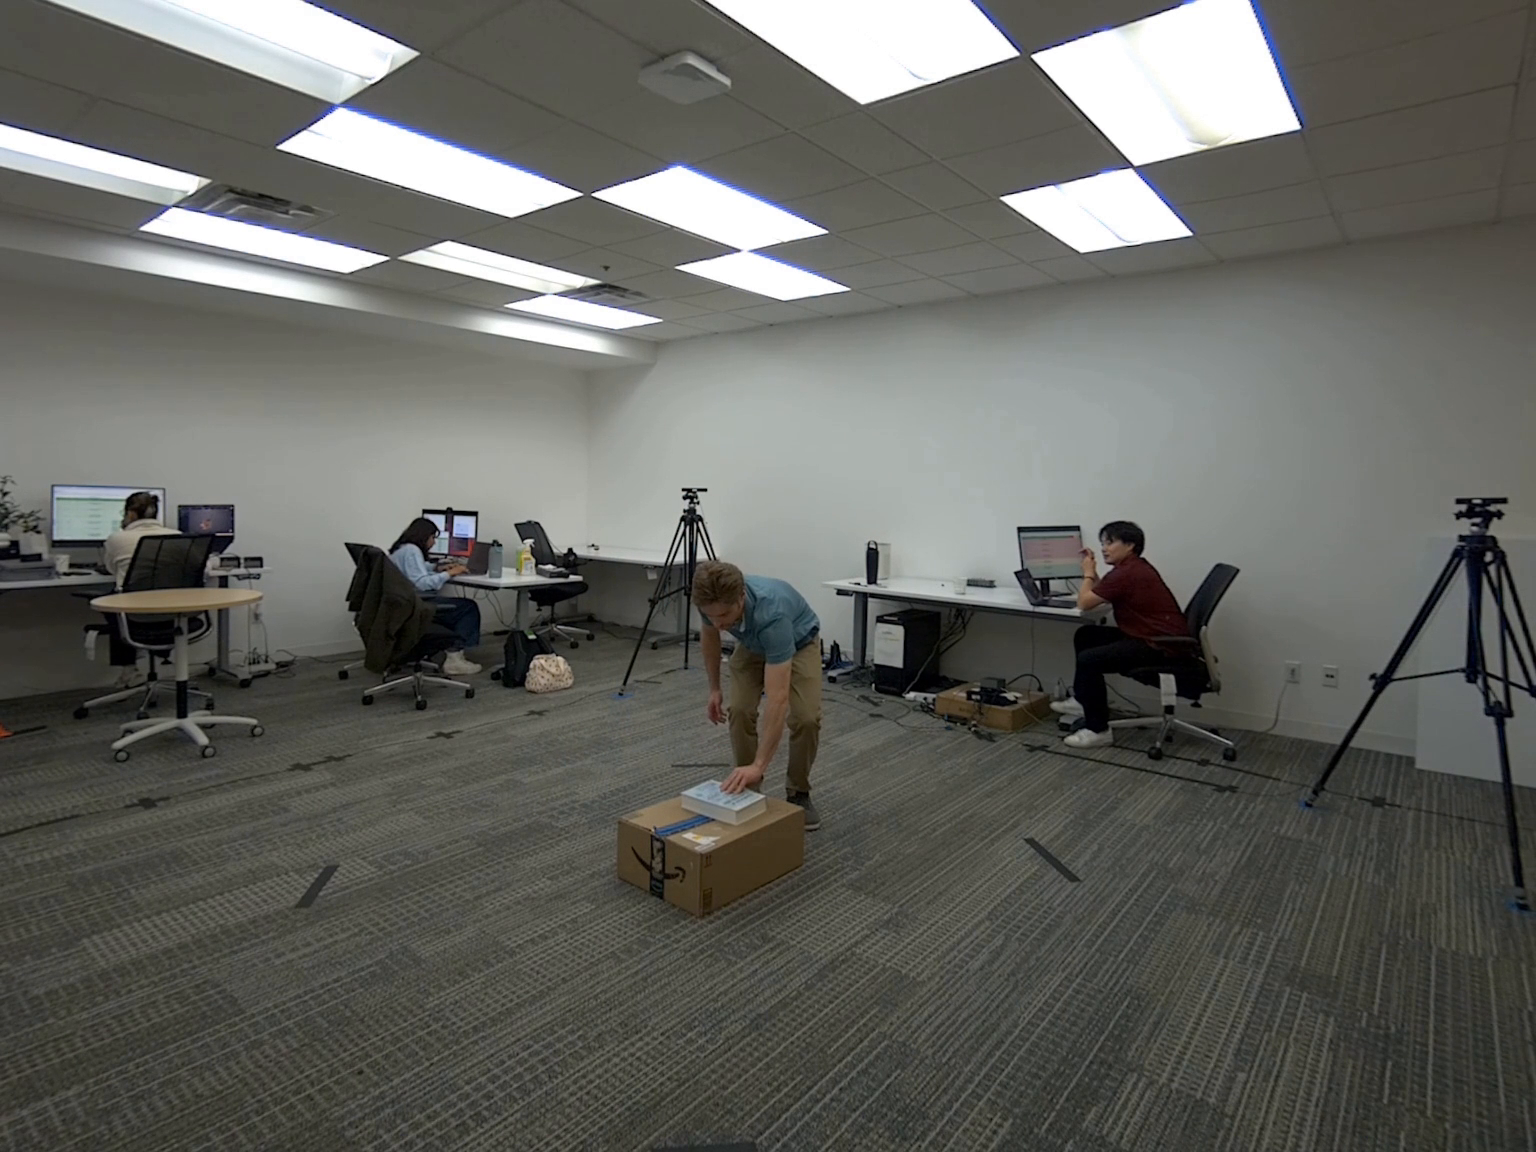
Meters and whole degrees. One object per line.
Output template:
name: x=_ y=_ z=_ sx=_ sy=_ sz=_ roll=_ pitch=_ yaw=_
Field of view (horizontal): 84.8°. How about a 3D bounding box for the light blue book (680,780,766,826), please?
light blue book: x=-0.182 y=0.826 z=3.132 sx=0.270 sy=0.059 sz=0.186 roll=6 pitch=8 yaw=36
